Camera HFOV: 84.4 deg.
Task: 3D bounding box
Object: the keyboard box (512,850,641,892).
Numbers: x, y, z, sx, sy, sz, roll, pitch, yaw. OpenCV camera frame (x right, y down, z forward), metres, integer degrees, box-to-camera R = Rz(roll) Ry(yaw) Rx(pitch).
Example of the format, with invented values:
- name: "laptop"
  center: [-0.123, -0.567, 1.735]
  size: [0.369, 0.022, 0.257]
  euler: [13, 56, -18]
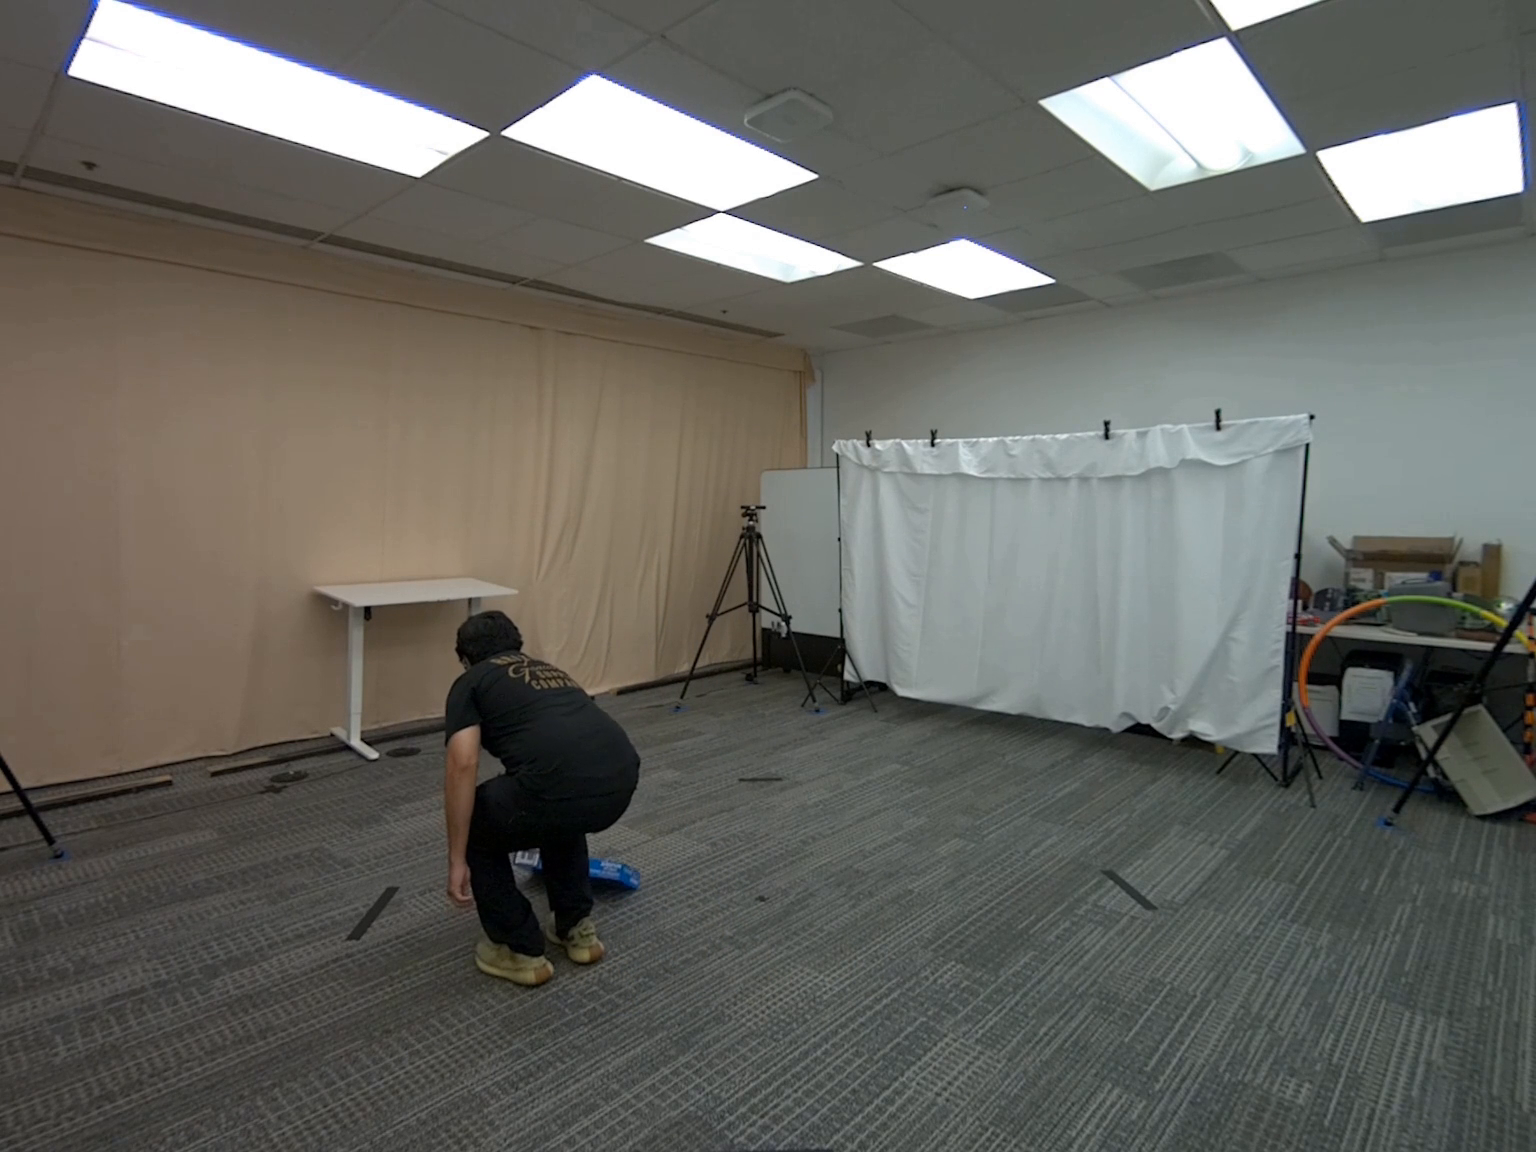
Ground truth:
- name: "keyboard box"
  center: [-0.702, 1.075, 3.081]
  size: [0.446, 0.060, 0.171]
  euler: [1, -29, 19]
